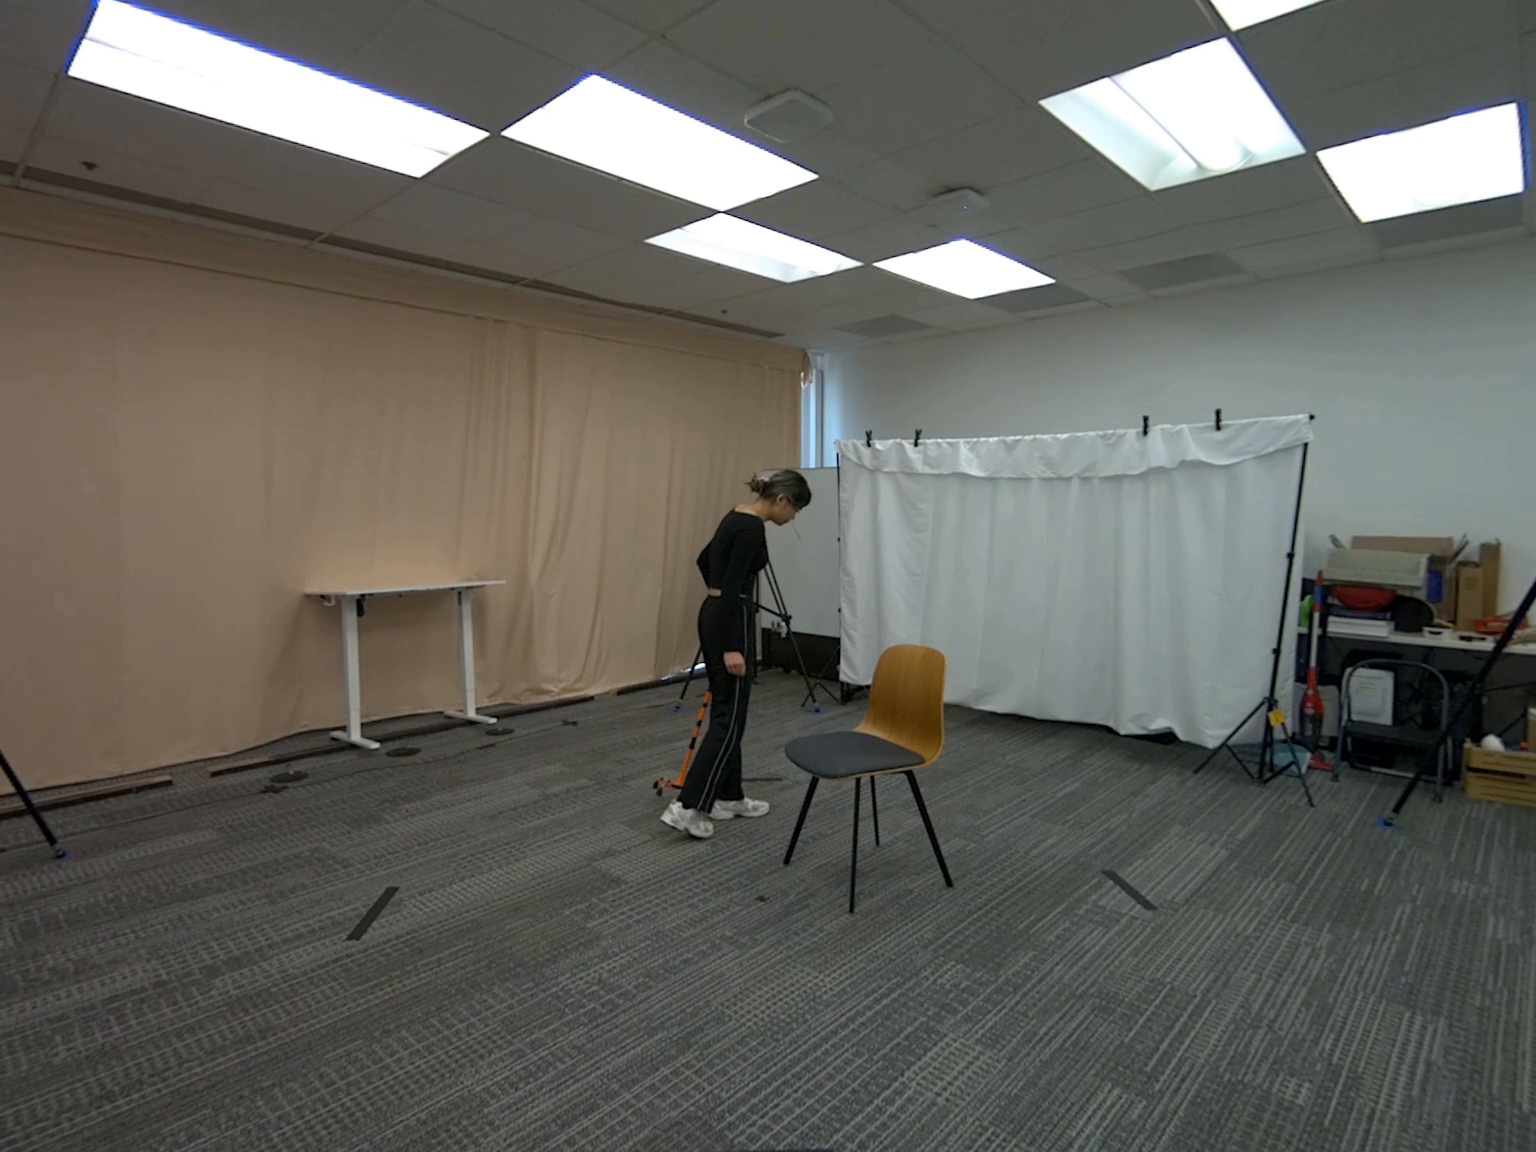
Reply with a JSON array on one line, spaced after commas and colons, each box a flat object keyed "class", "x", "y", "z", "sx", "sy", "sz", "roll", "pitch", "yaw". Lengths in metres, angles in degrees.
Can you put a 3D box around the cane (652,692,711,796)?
[{"class": "cane", "x": -0.306, "y": 0.603, "z": 3.991, "sx": 0.203, "sy": 0.909, "sz": 0.154, "roll": 17, "pitch": -4, "yaw": -15}]
